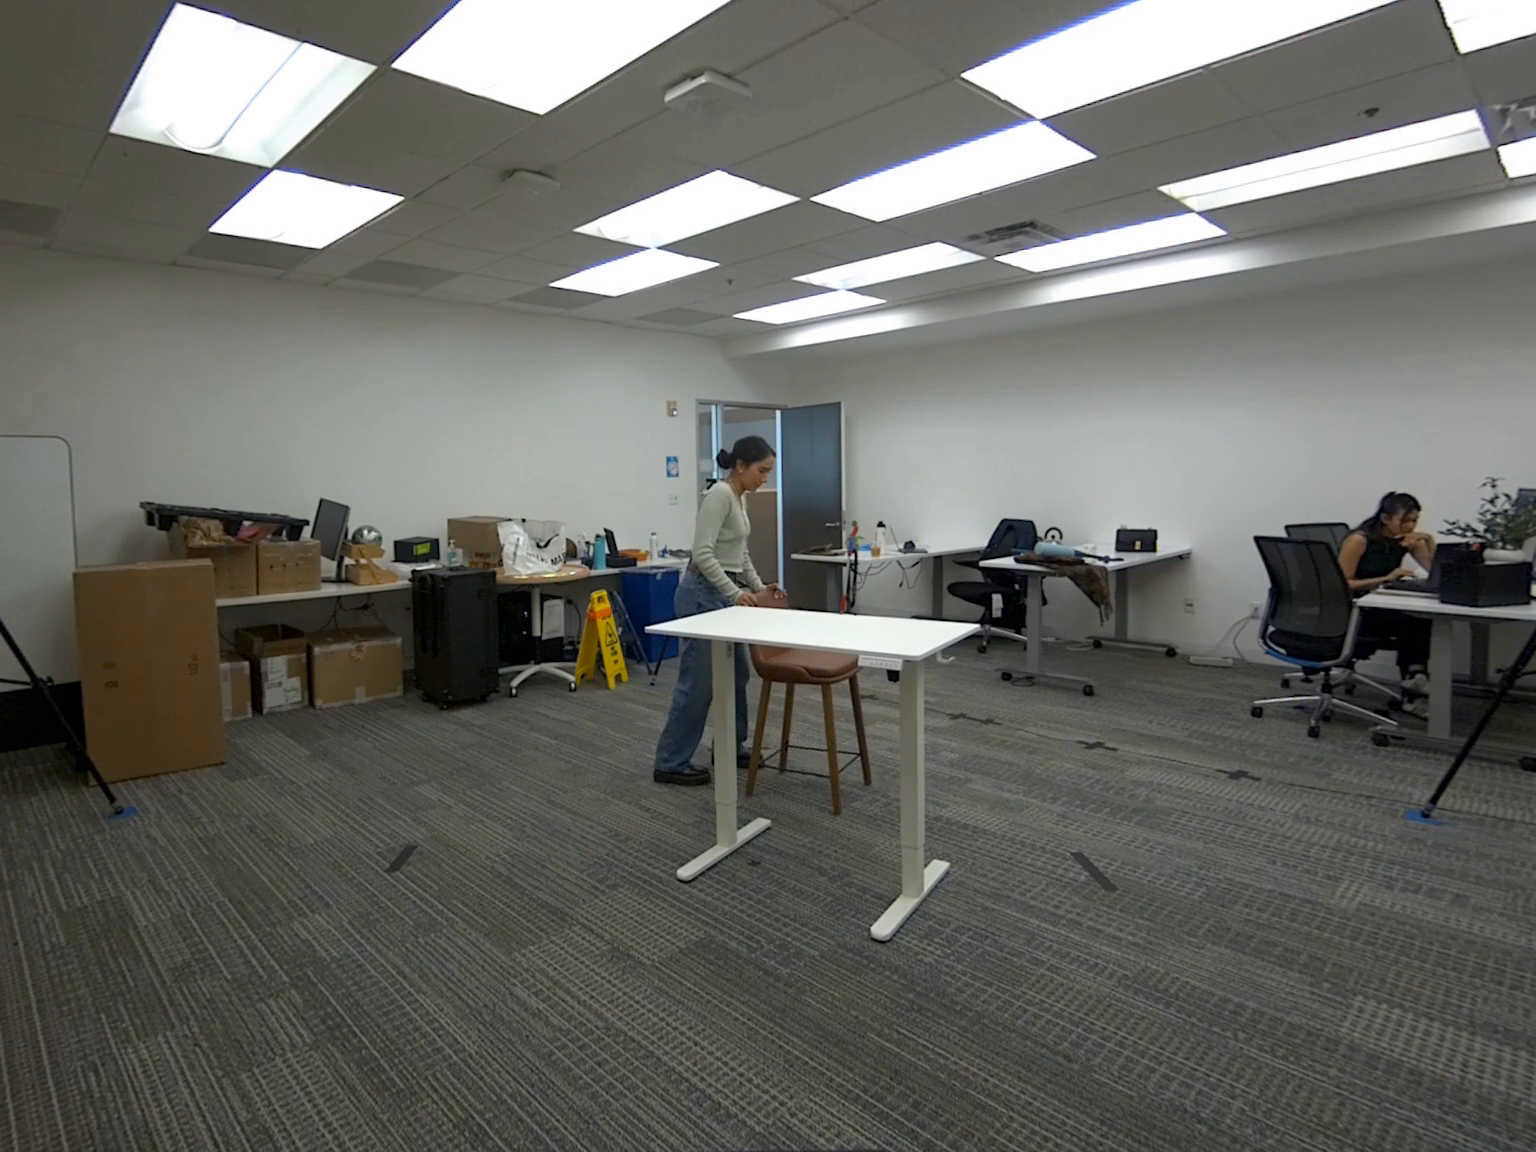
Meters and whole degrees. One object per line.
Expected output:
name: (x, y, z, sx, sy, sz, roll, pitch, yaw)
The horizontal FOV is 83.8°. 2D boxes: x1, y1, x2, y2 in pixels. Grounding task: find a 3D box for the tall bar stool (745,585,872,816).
tall bar stool: (0.165, 0.525, 3.797, 0.479, 0.888, 0.447, -1, 3, 28)
